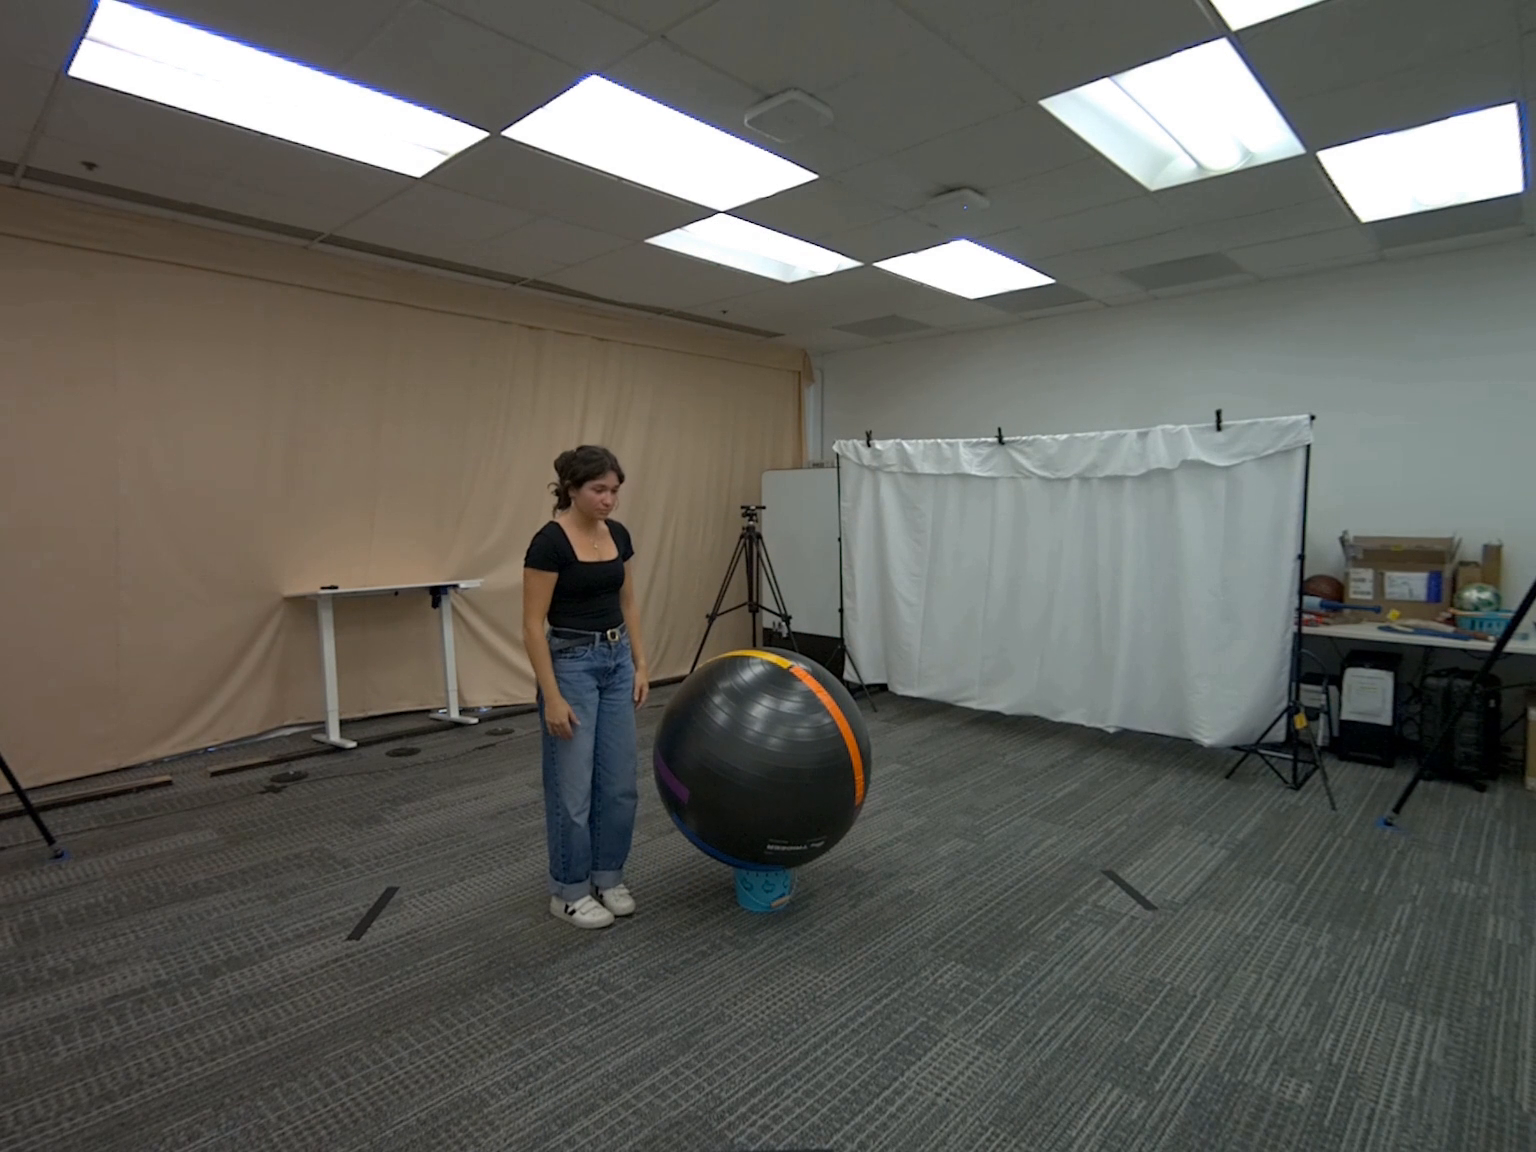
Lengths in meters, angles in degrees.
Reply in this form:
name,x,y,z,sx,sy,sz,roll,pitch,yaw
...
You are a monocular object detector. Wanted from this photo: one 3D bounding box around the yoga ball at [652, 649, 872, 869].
name,x,y,z,sx,sy,sz,roll,pitch,yaw
yoga ball,-0.012,0.634,2.955,0.757,0.756,0.760,0,4,-2
